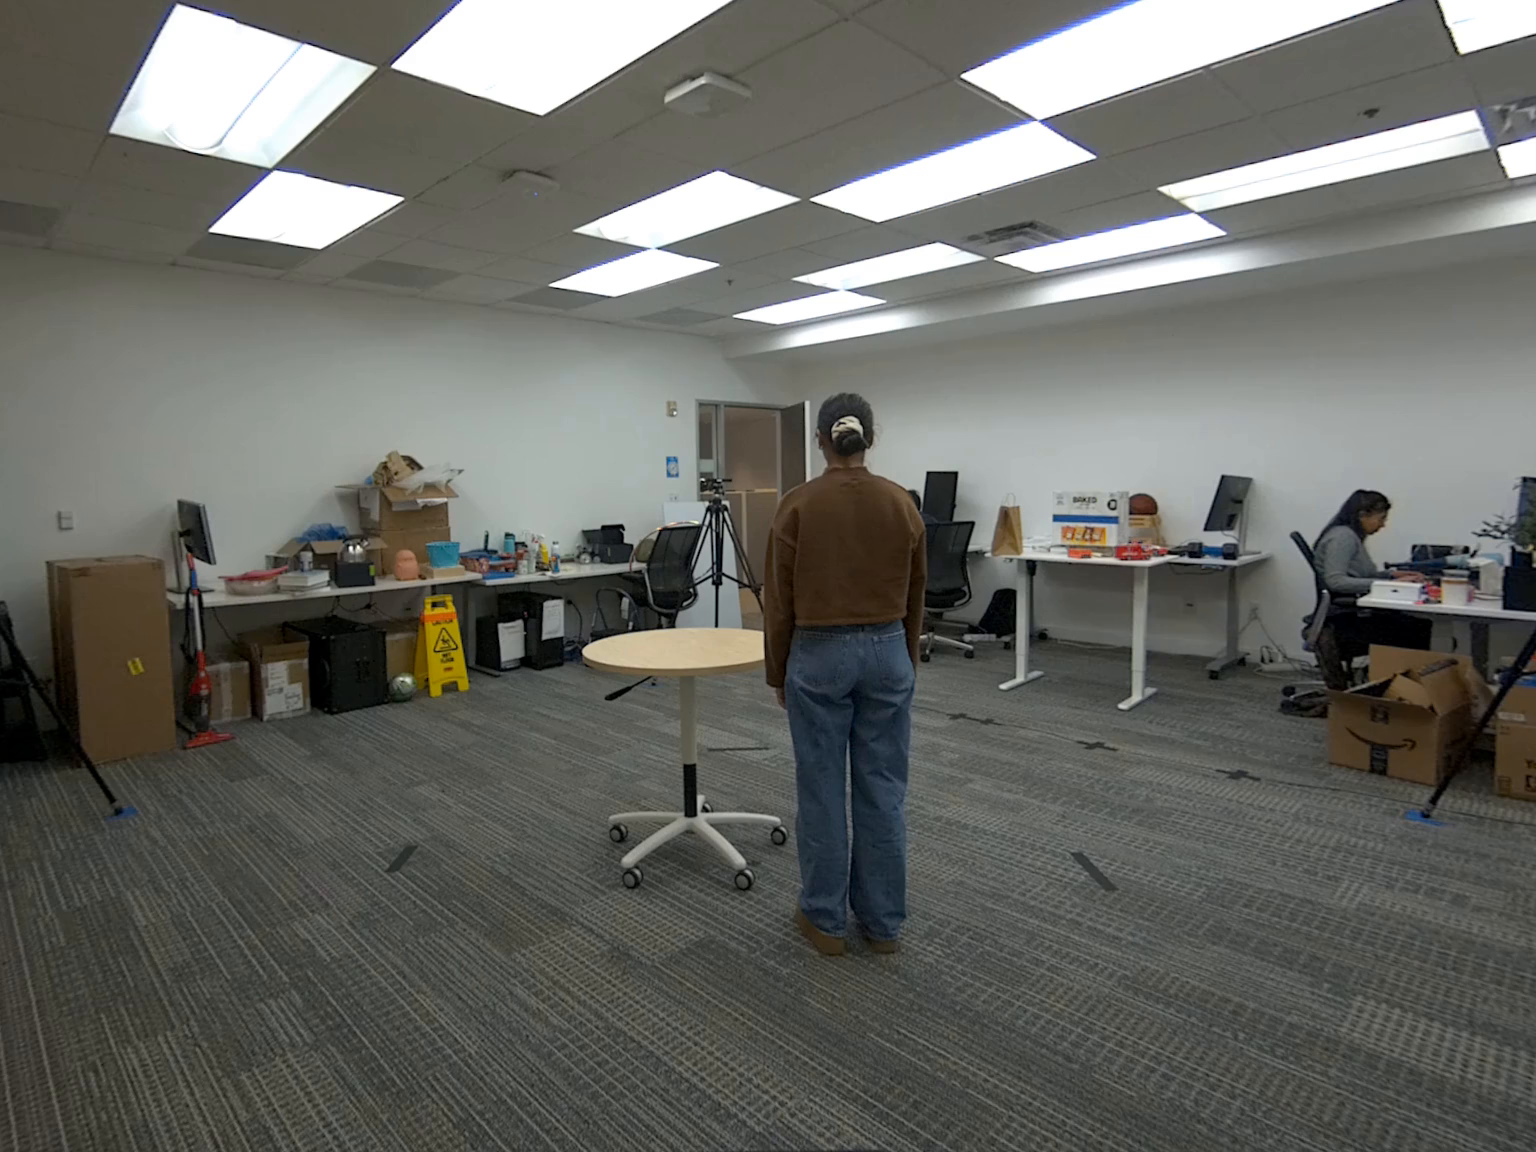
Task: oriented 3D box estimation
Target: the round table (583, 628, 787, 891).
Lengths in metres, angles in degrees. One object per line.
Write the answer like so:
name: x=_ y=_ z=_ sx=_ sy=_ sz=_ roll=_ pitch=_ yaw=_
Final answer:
round table: x=-0.280 y=0.647 z=3.186 sx=0.784 sy=0.783 sz=0.789 roll=-2 pitch=5 yaw=-2
